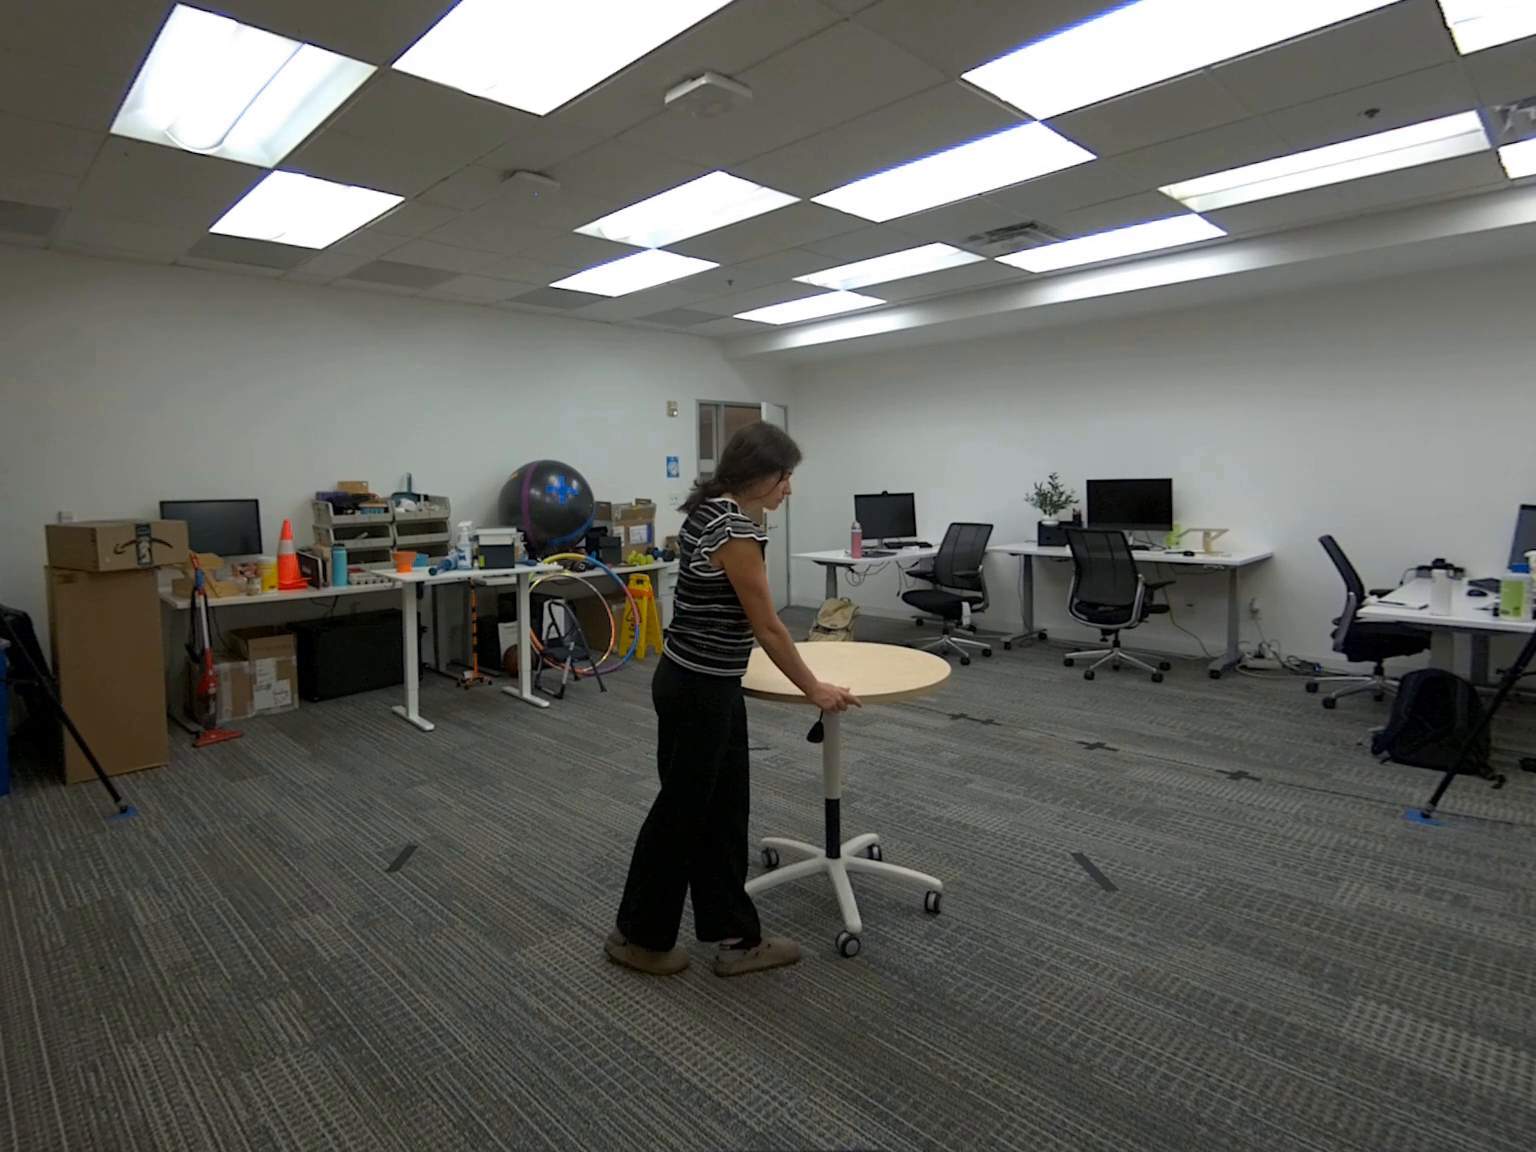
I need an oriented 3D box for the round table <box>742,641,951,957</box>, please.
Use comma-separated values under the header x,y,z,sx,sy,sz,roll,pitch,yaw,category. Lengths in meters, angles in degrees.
x,y,z,sx,sy,sz,roll,pitch,yaw,category
0.217,0.684,2.826,0.763,0.790,0.768,-1,5,-2,round table
